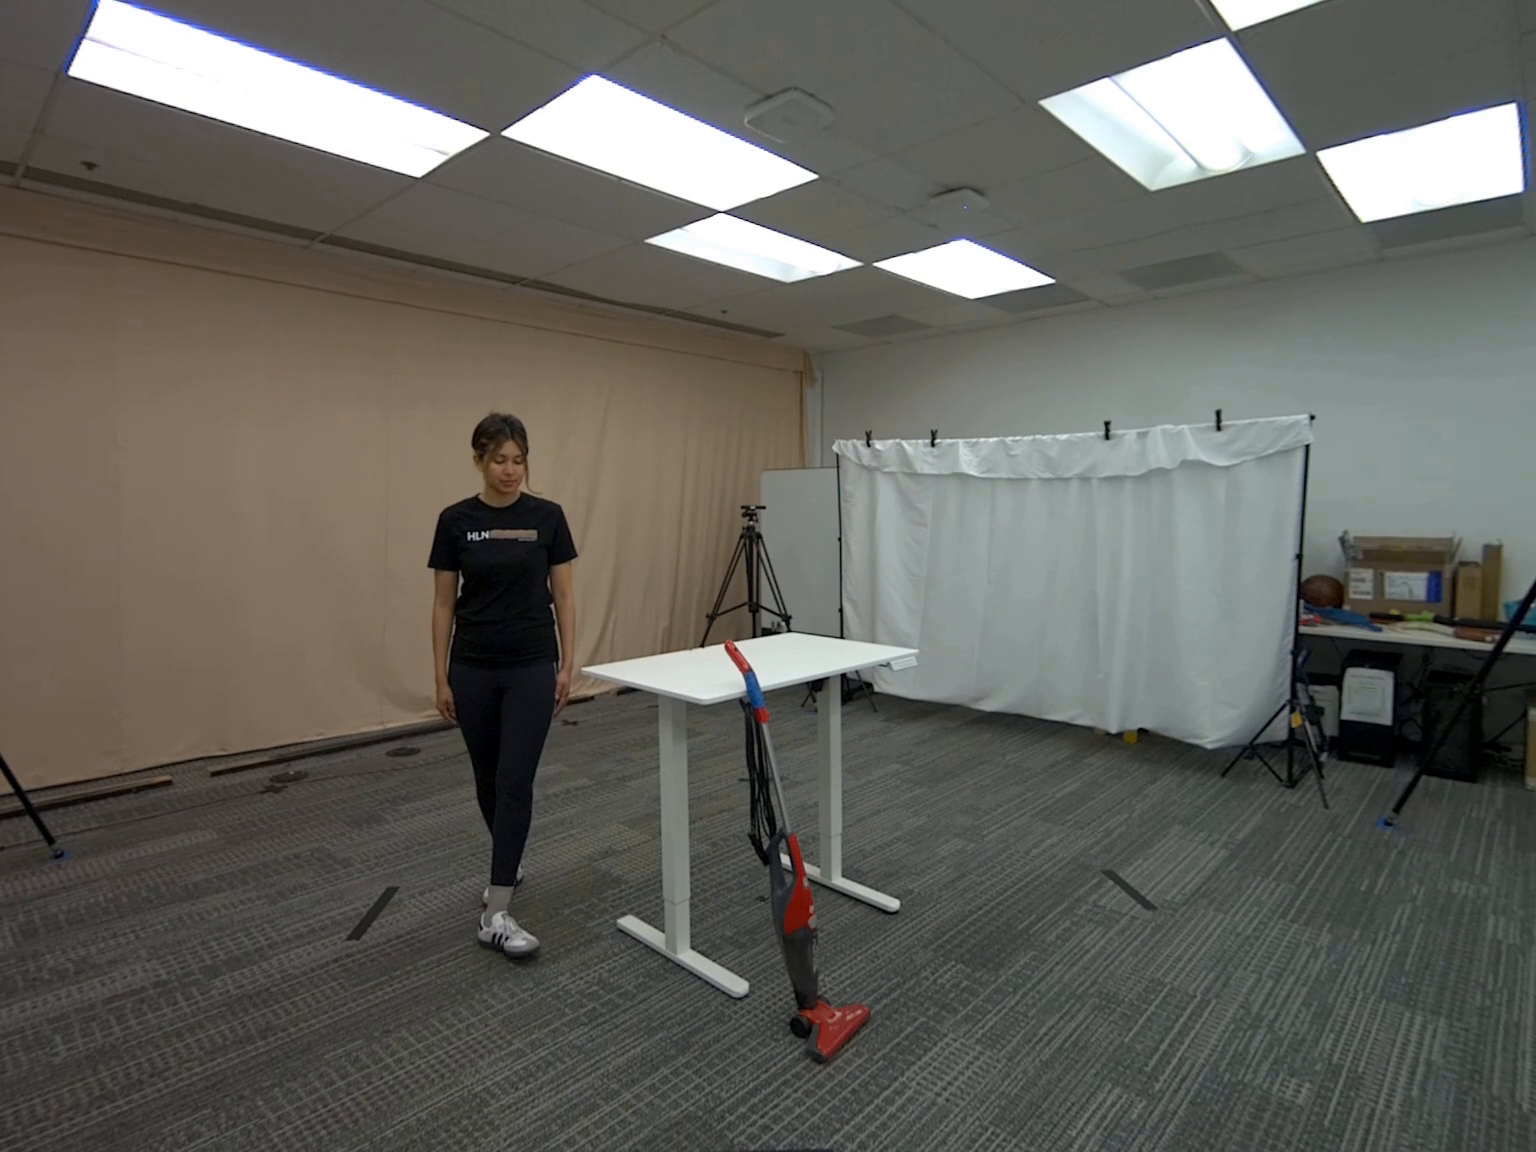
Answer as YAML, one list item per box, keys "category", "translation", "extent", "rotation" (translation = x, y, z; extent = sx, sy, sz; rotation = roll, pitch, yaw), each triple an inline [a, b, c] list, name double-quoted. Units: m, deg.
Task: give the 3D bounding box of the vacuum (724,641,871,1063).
- category: "vacuum"
  translation: [0.027, 0.707, 2.294]
  extent: [0.147, 1.057, 0.245]
  rotation: [-22, -11, 38]
